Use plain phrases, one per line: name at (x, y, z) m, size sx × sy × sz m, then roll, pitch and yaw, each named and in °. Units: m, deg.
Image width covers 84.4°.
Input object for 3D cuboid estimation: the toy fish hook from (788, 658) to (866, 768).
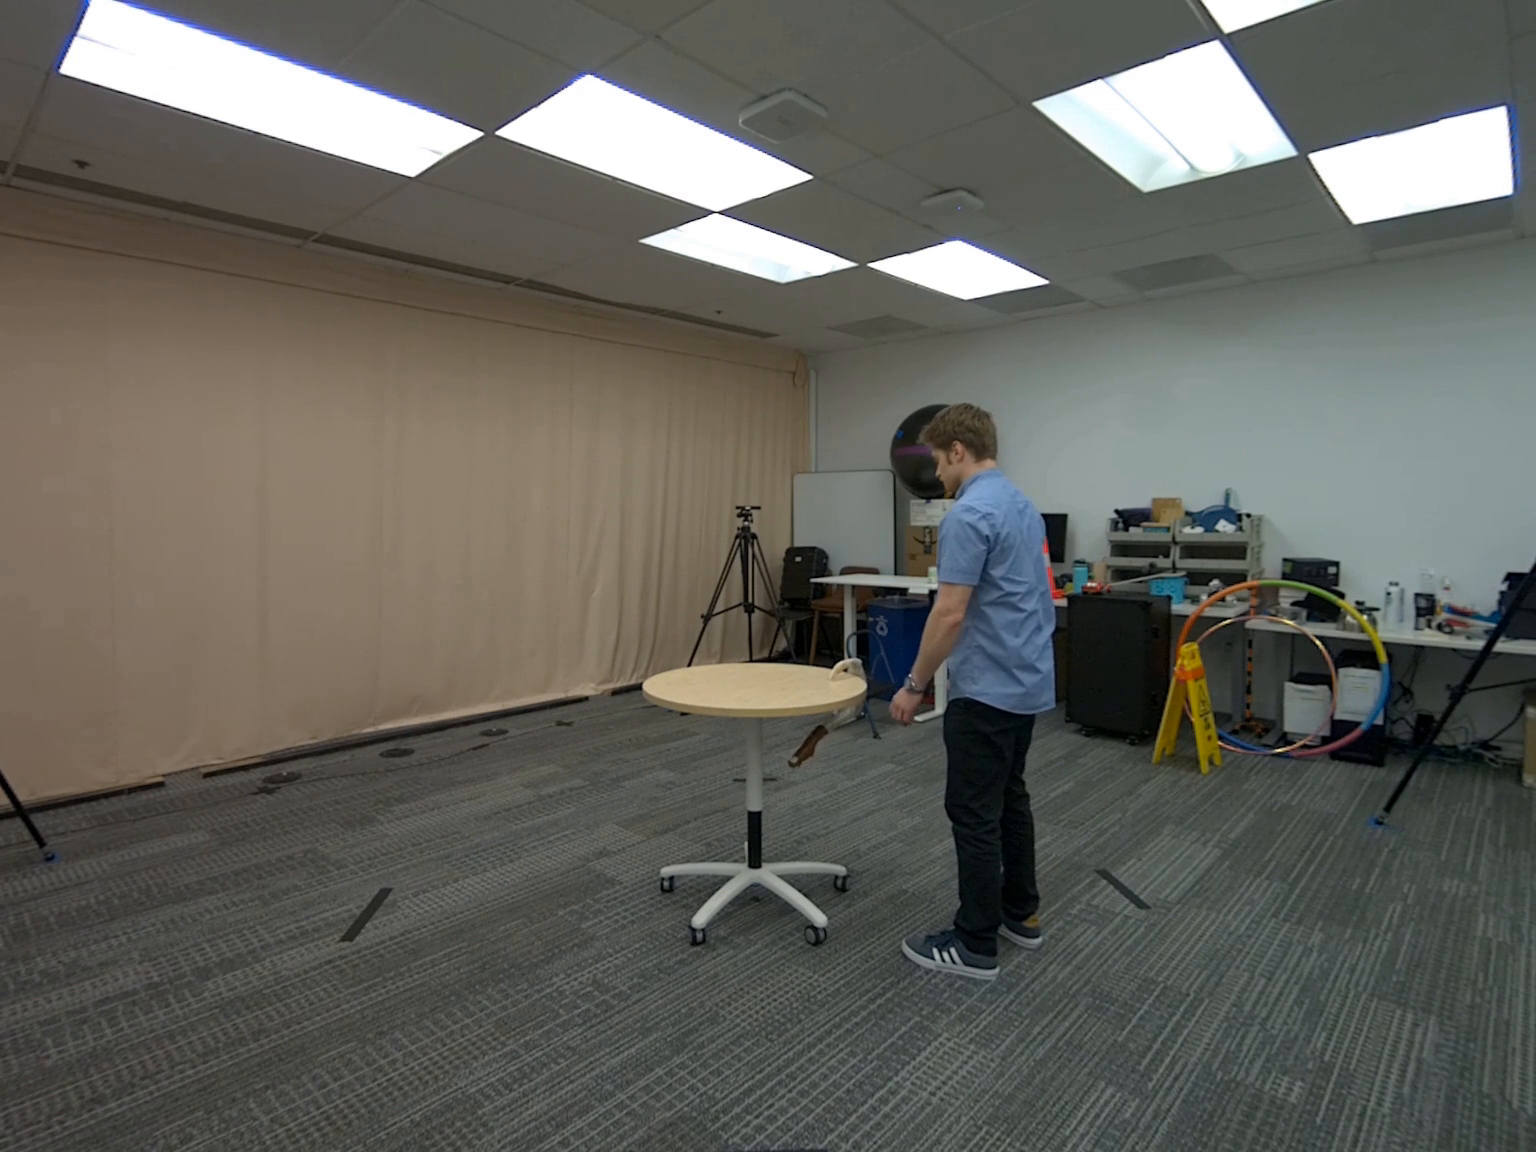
toy fish hook at (0.214, 0.466, 2.915) m, size 0.050 × 0.221 × 0.499 m, roll -4°, pitch 24°, yaw 42°
